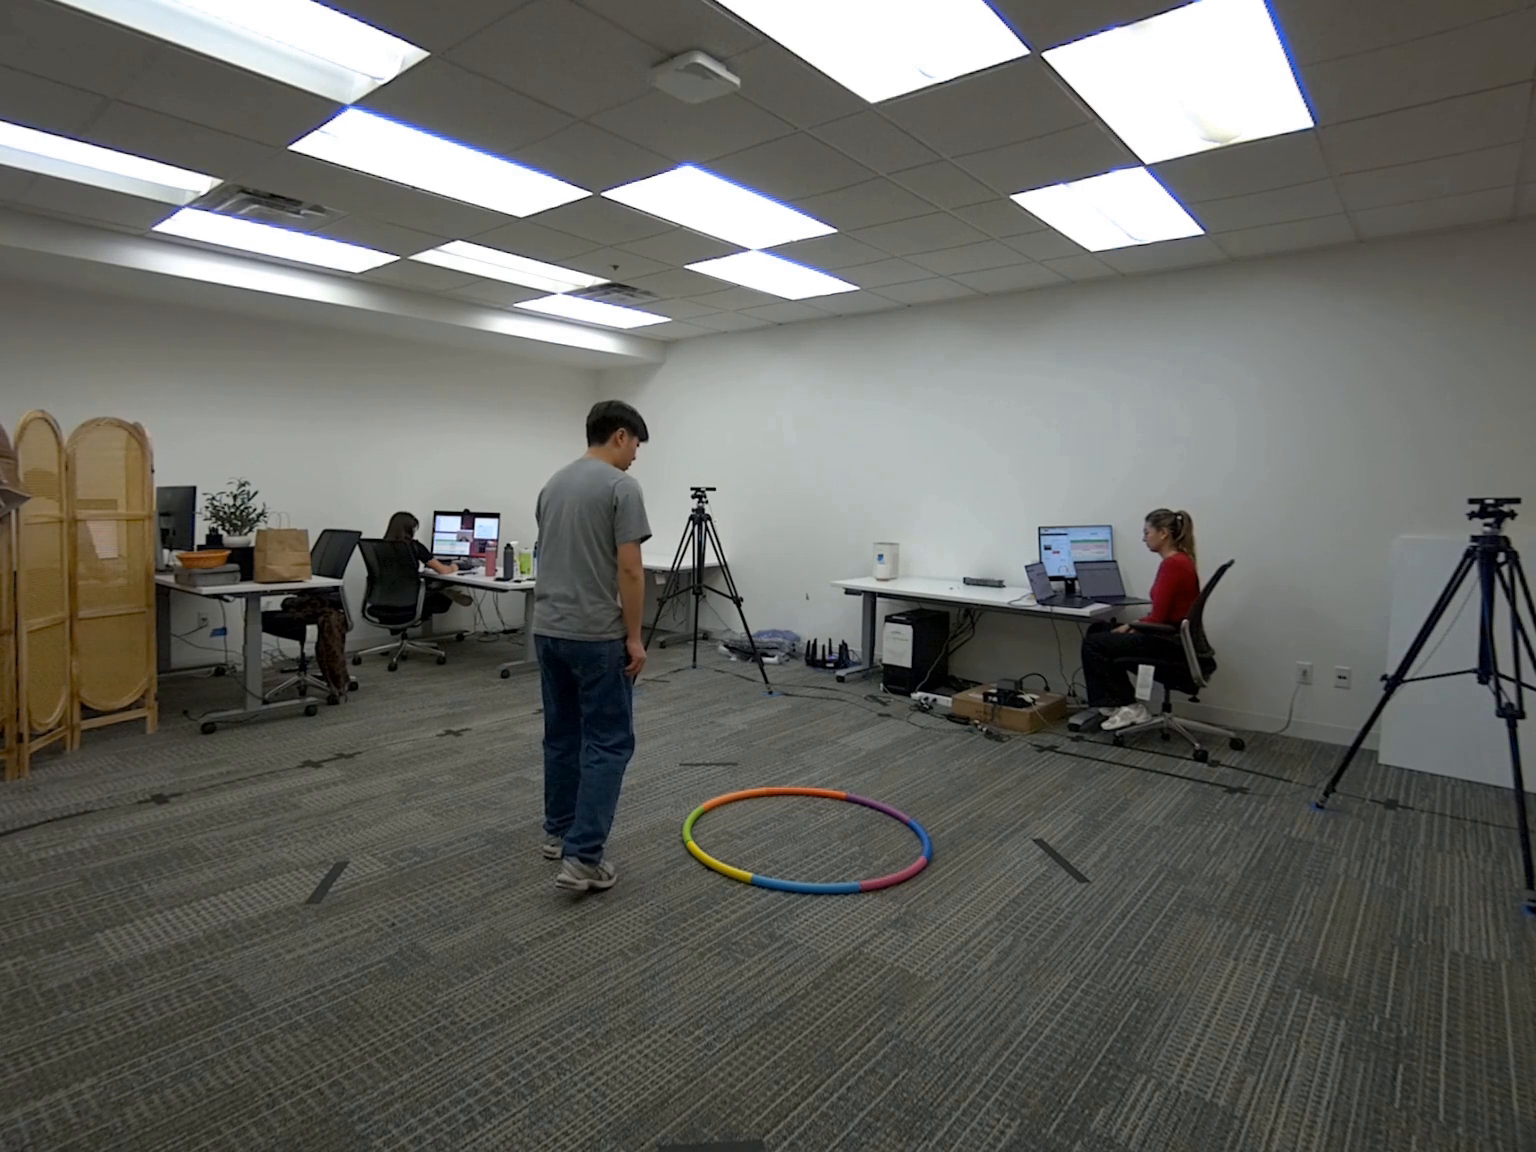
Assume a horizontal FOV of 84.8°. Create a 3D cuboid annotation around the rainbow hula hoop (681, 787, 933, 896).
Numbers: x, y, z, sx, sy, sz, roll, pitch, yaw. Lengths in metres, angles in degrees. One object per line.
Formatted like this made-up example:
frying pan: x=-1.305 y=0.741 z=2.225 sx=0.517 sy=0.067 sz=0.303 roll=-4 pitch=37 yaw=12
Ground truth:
rainbow hula hoop: x=0.139 y=1.018 z=3.399 sx=0.978 sy=0.035 sz=0.984 roll=1 pitch=6 yaw=-2
